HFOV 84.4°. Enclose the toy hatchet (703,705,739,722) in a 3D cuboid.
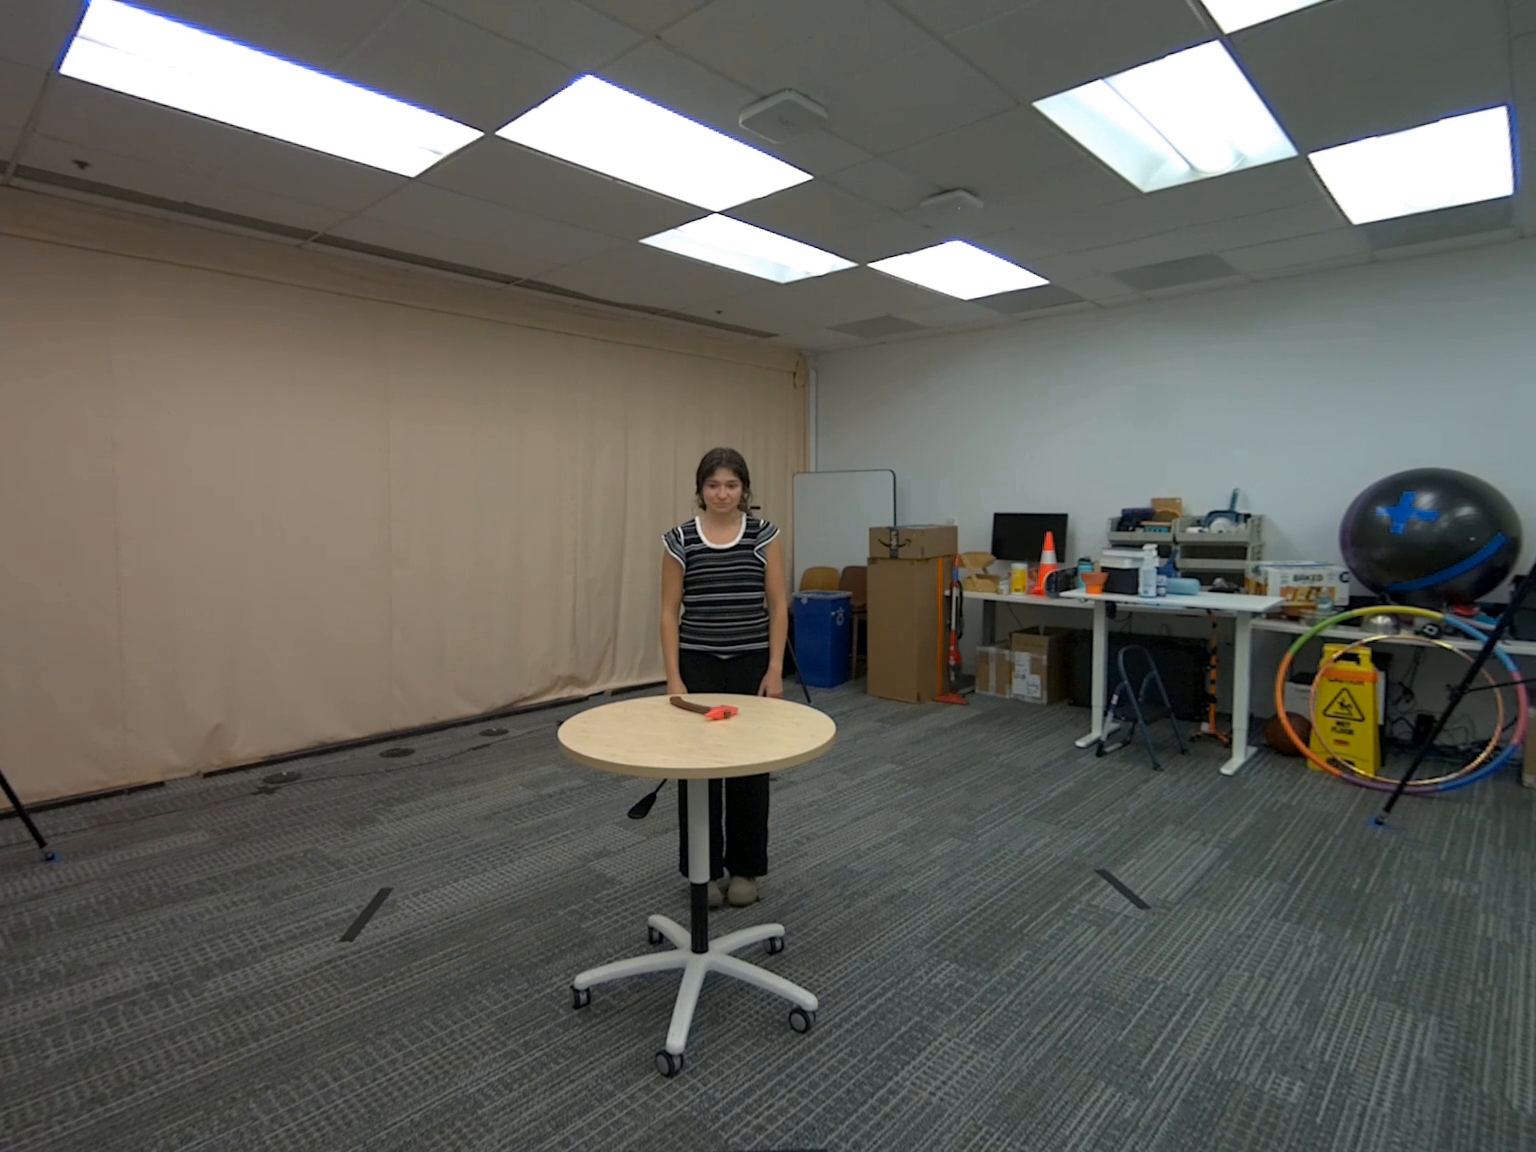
[{"bbox_3d":[-0.182,0.390,2.512,0.128,0.029,0.277,-2,4,-27],"label":"toy hatchet"}]
